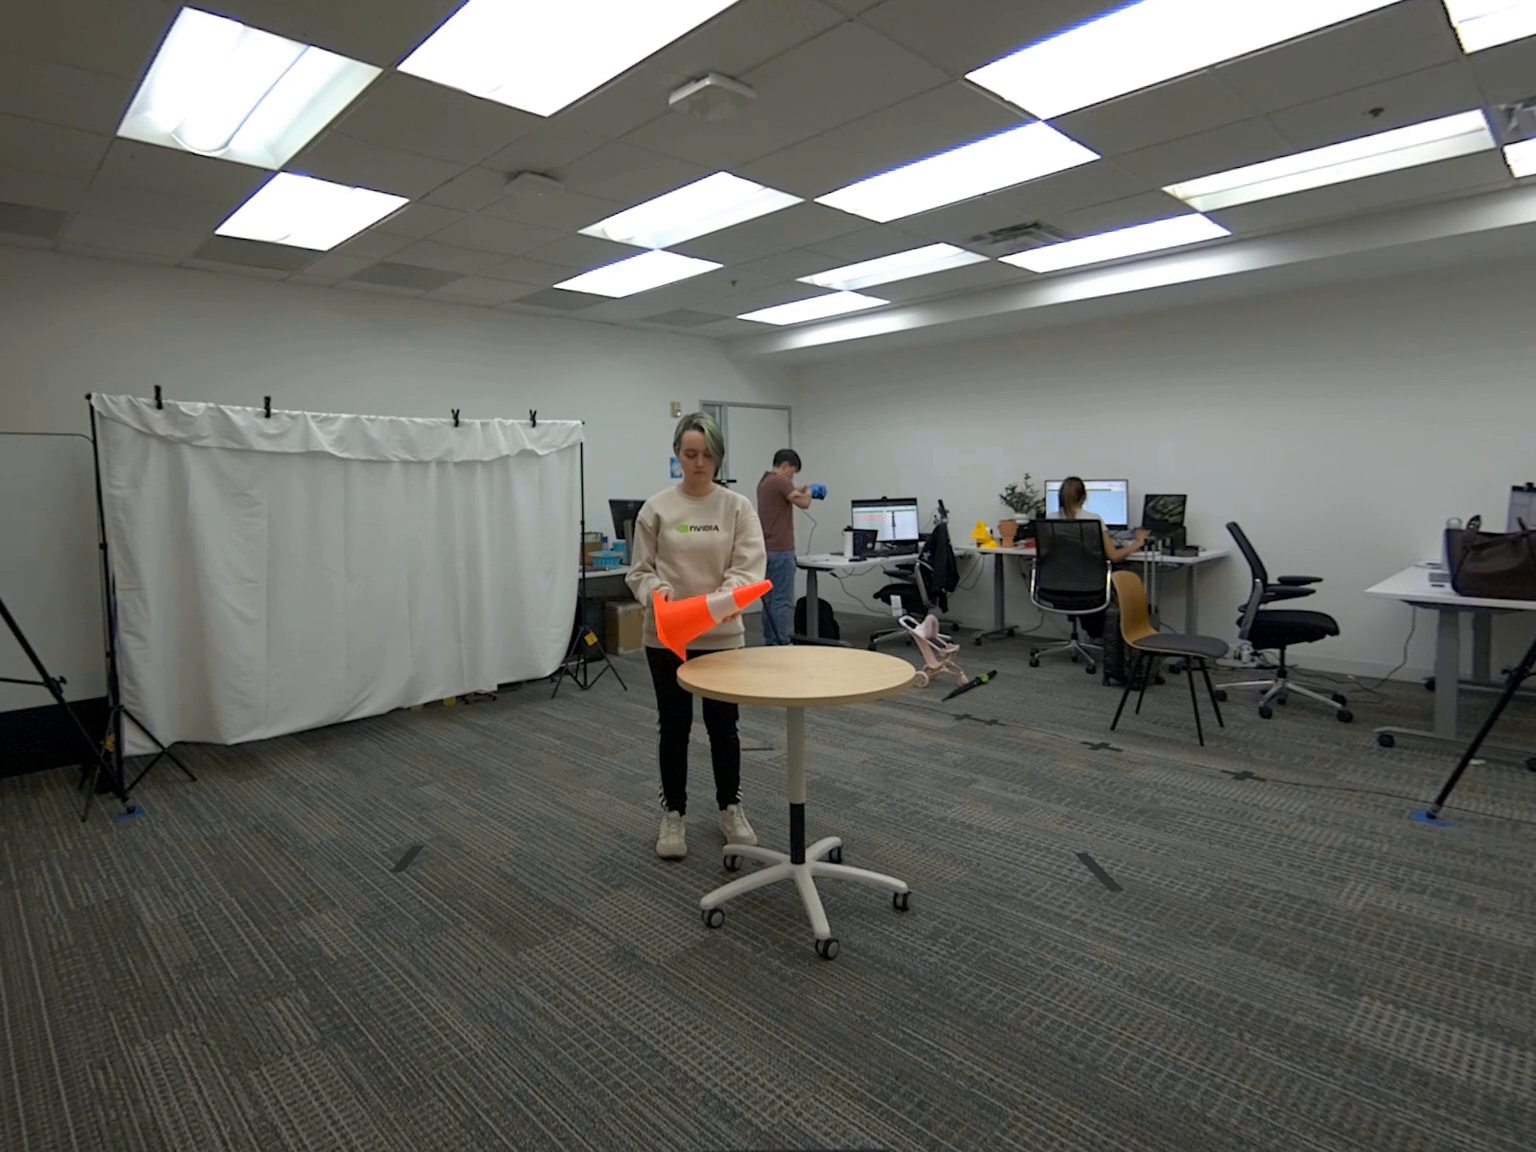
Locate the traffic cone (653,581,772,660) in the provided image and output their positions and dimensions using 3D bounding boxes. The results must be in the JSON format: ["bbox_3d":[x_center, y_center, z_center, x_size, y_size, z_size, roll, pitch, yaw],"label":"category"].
[{"bbox_3d":[-0.164,0.101,2.815,0.387,0.210,0.197,-24,-44,15],"label":"traffic cone"}]
